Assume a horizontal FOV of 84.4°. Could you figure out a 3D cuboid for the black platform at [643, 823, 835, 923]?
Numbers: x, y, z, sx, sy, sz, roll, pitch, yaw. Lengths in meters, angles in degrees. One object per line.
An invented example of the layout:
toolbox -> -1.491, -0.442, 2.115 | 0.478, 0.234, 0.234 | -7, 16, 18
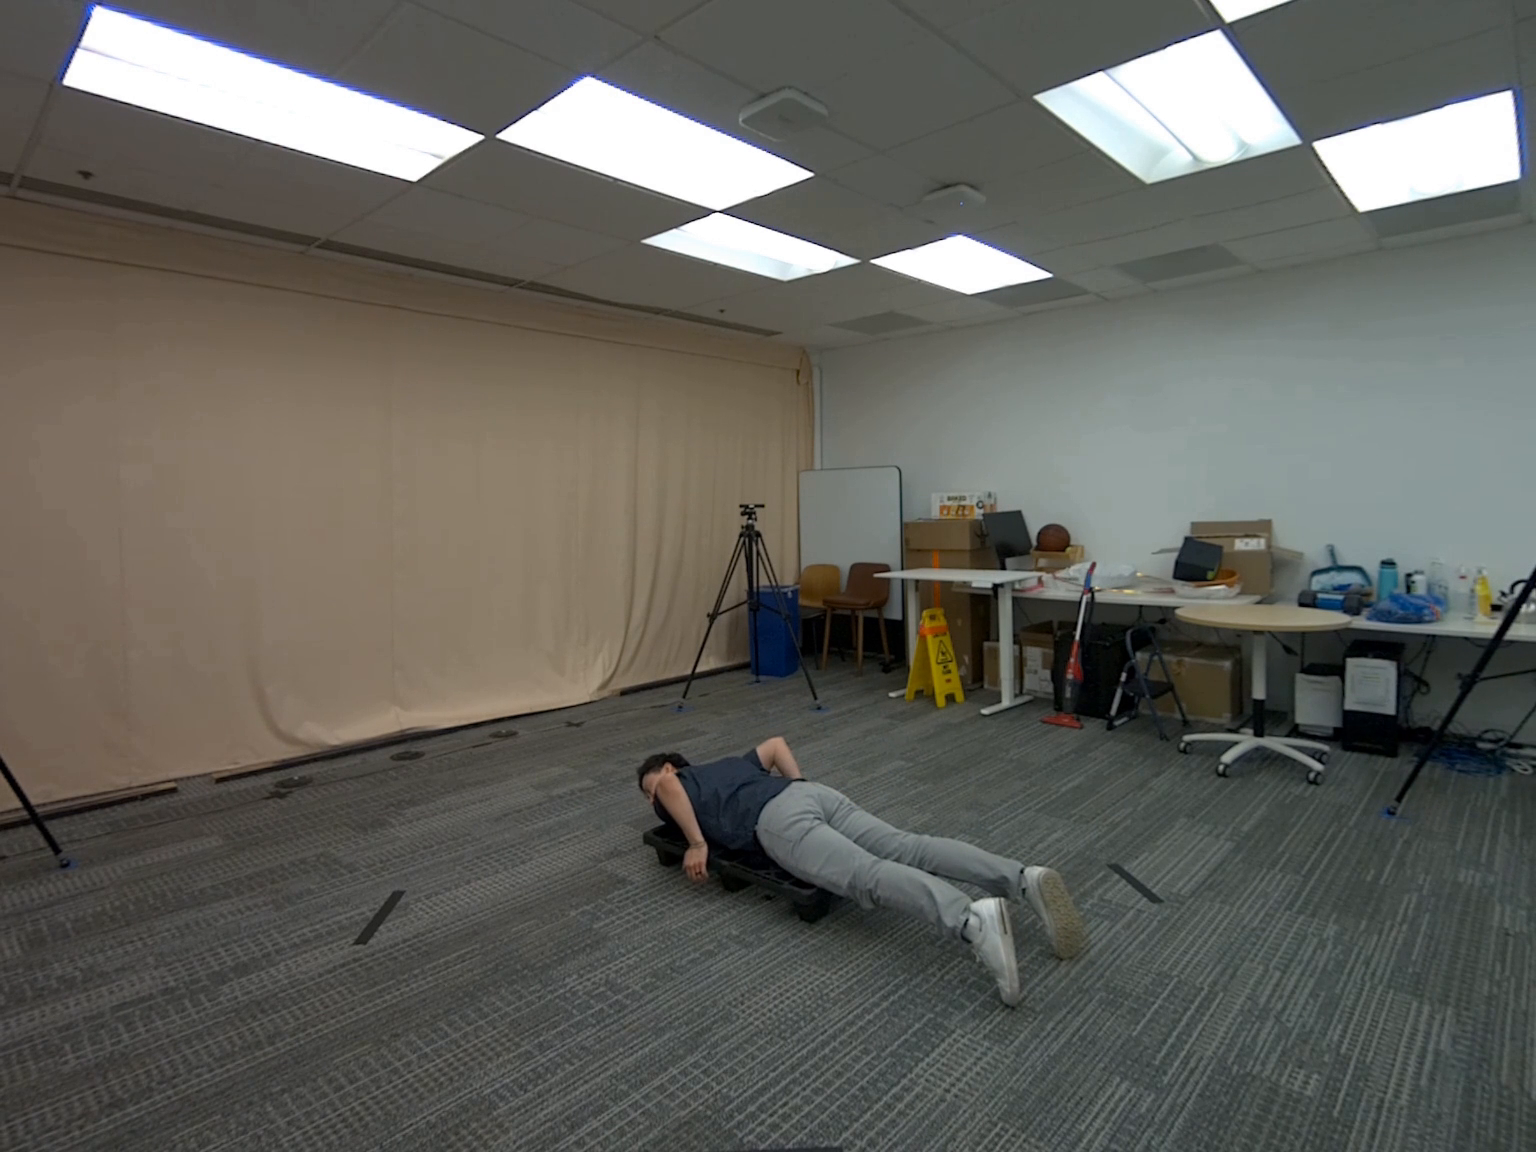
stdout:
black platform -> 0.017, 1.064, 3.211 | 0.832, 0.143, 0.588 | 3, 9, 40
